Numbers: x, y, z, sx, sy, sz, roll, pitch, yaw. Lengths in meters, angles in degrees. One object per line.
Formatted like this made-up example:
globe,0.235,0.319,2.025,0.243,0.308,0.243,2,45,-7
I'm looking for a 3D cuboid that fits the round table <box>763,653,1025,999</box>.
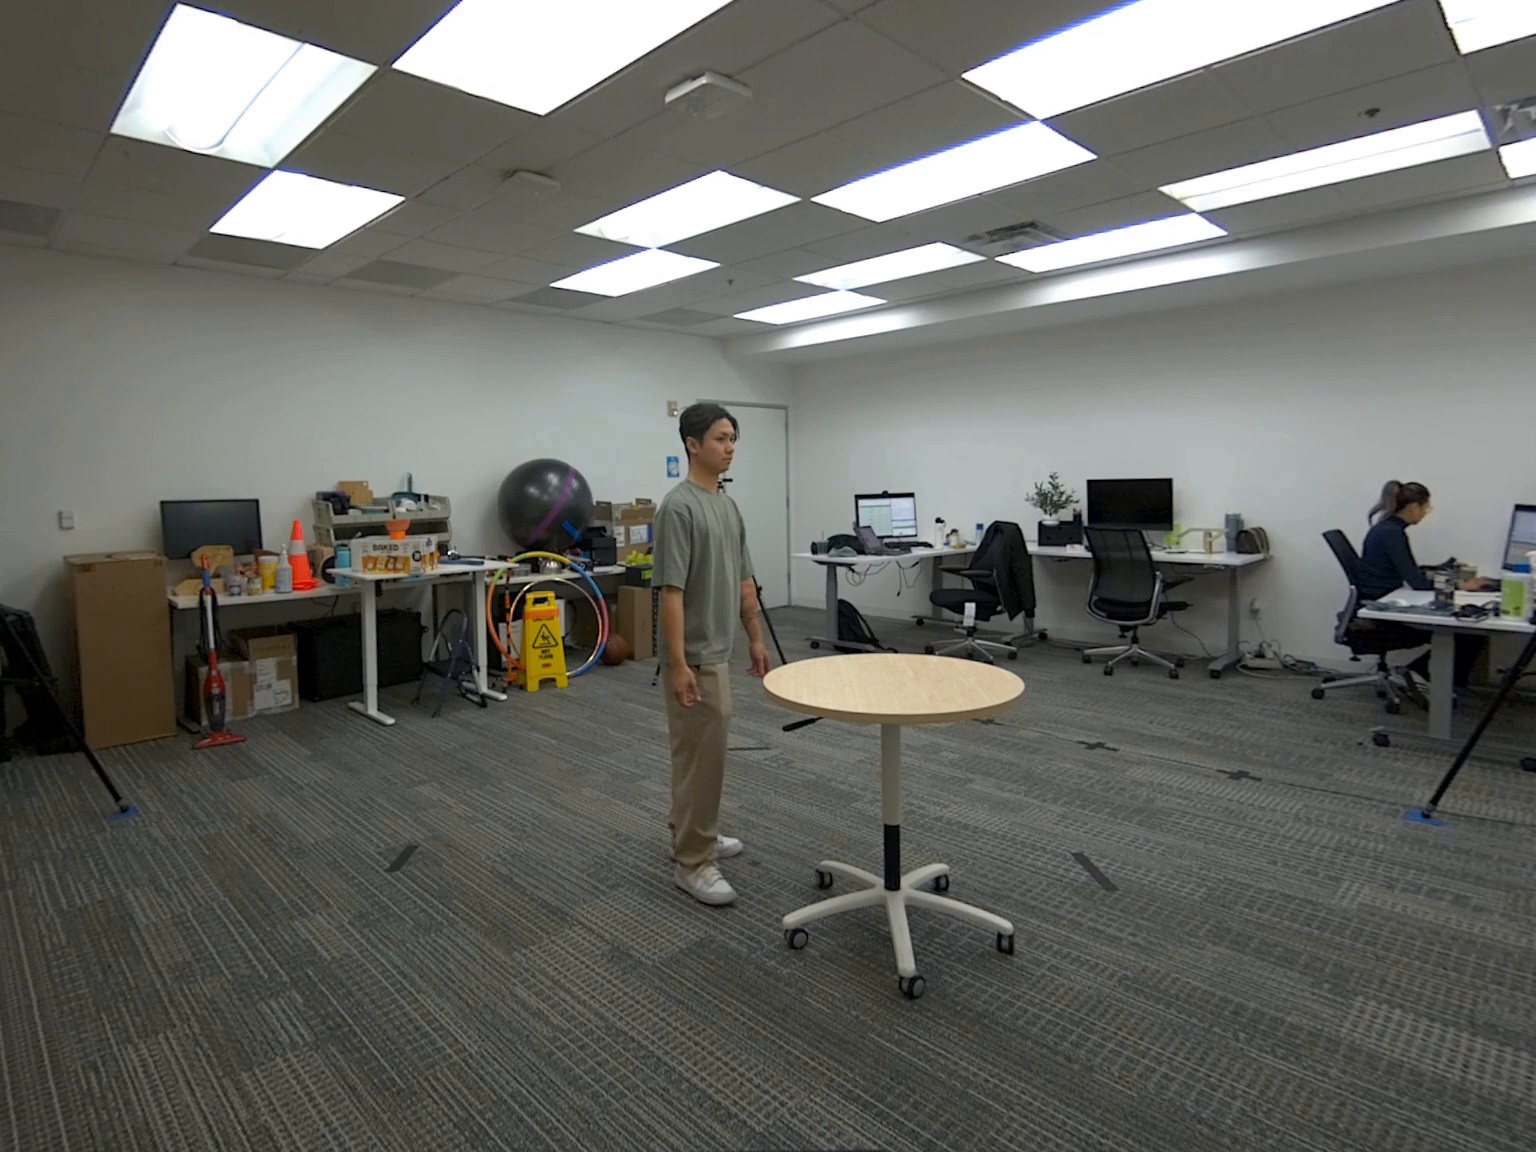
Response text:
round table,0.389,0.700,2.591,0.785,0.783,0.789,-2,5,-1
